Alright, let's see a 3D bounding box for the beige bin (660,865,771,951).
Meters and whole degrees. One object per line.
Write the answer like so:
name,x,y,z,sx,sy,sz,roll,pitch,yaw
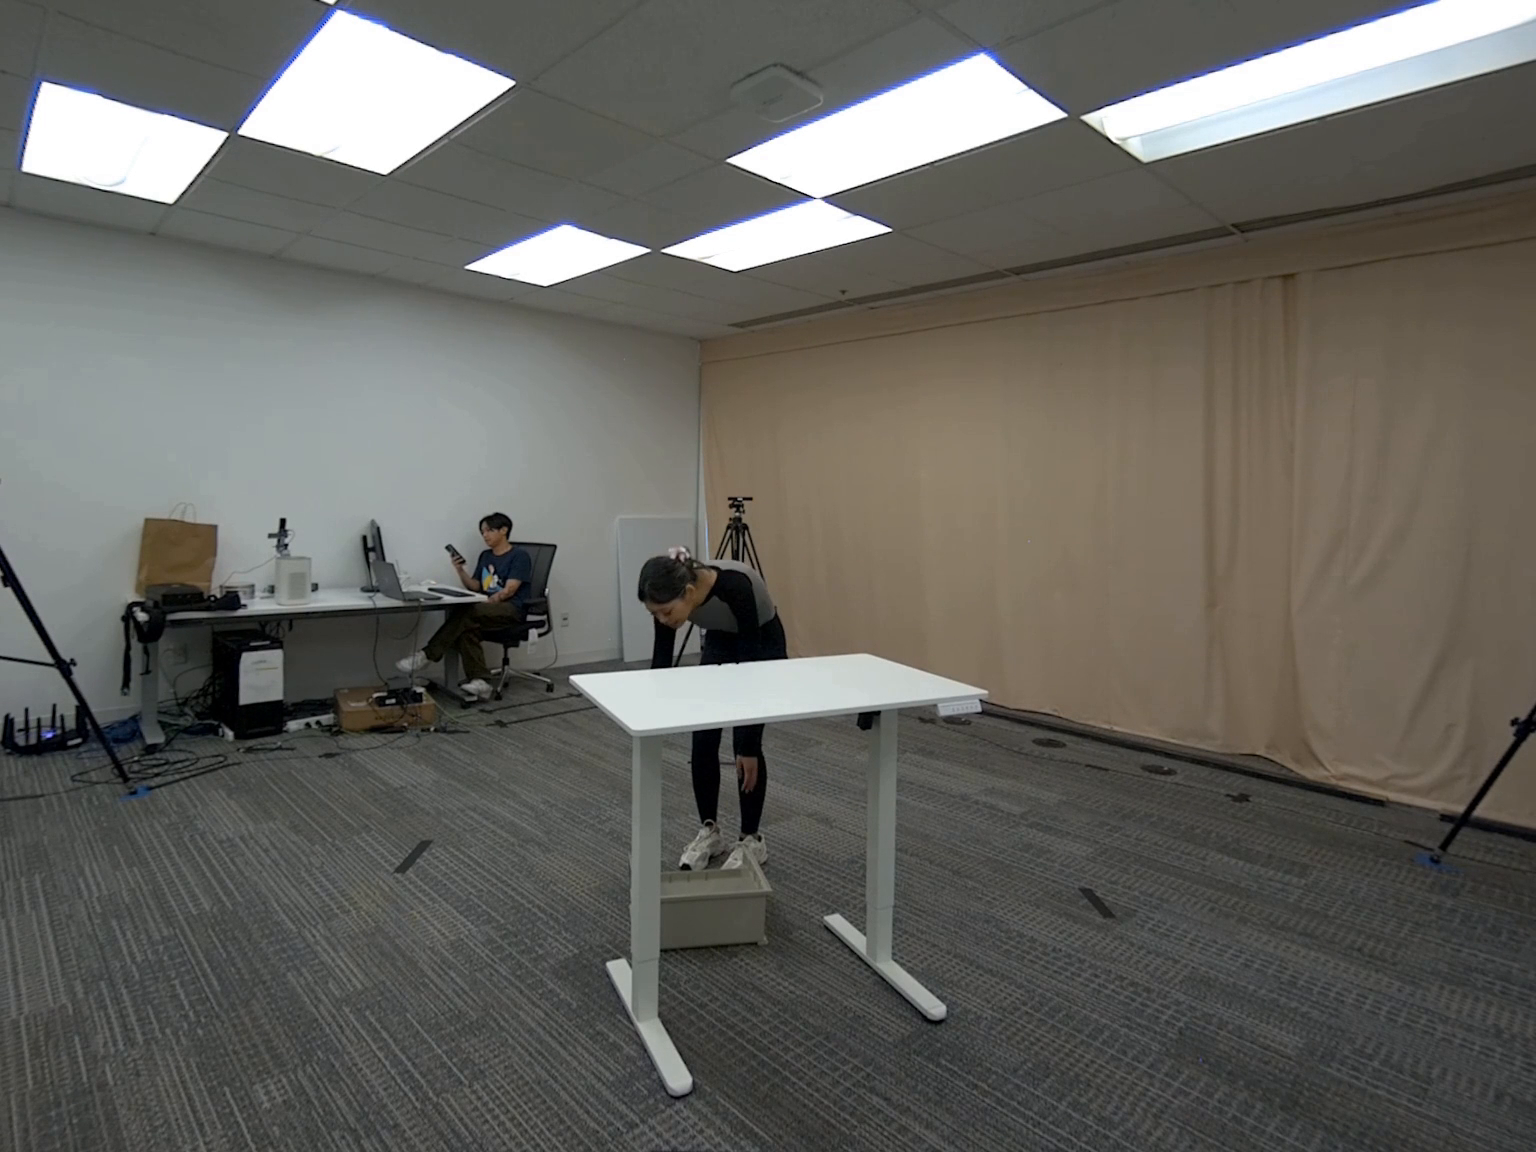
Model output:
beige bin,-0.241,1.047,2.757,0.418,0.188,0.382,2,5,-13
